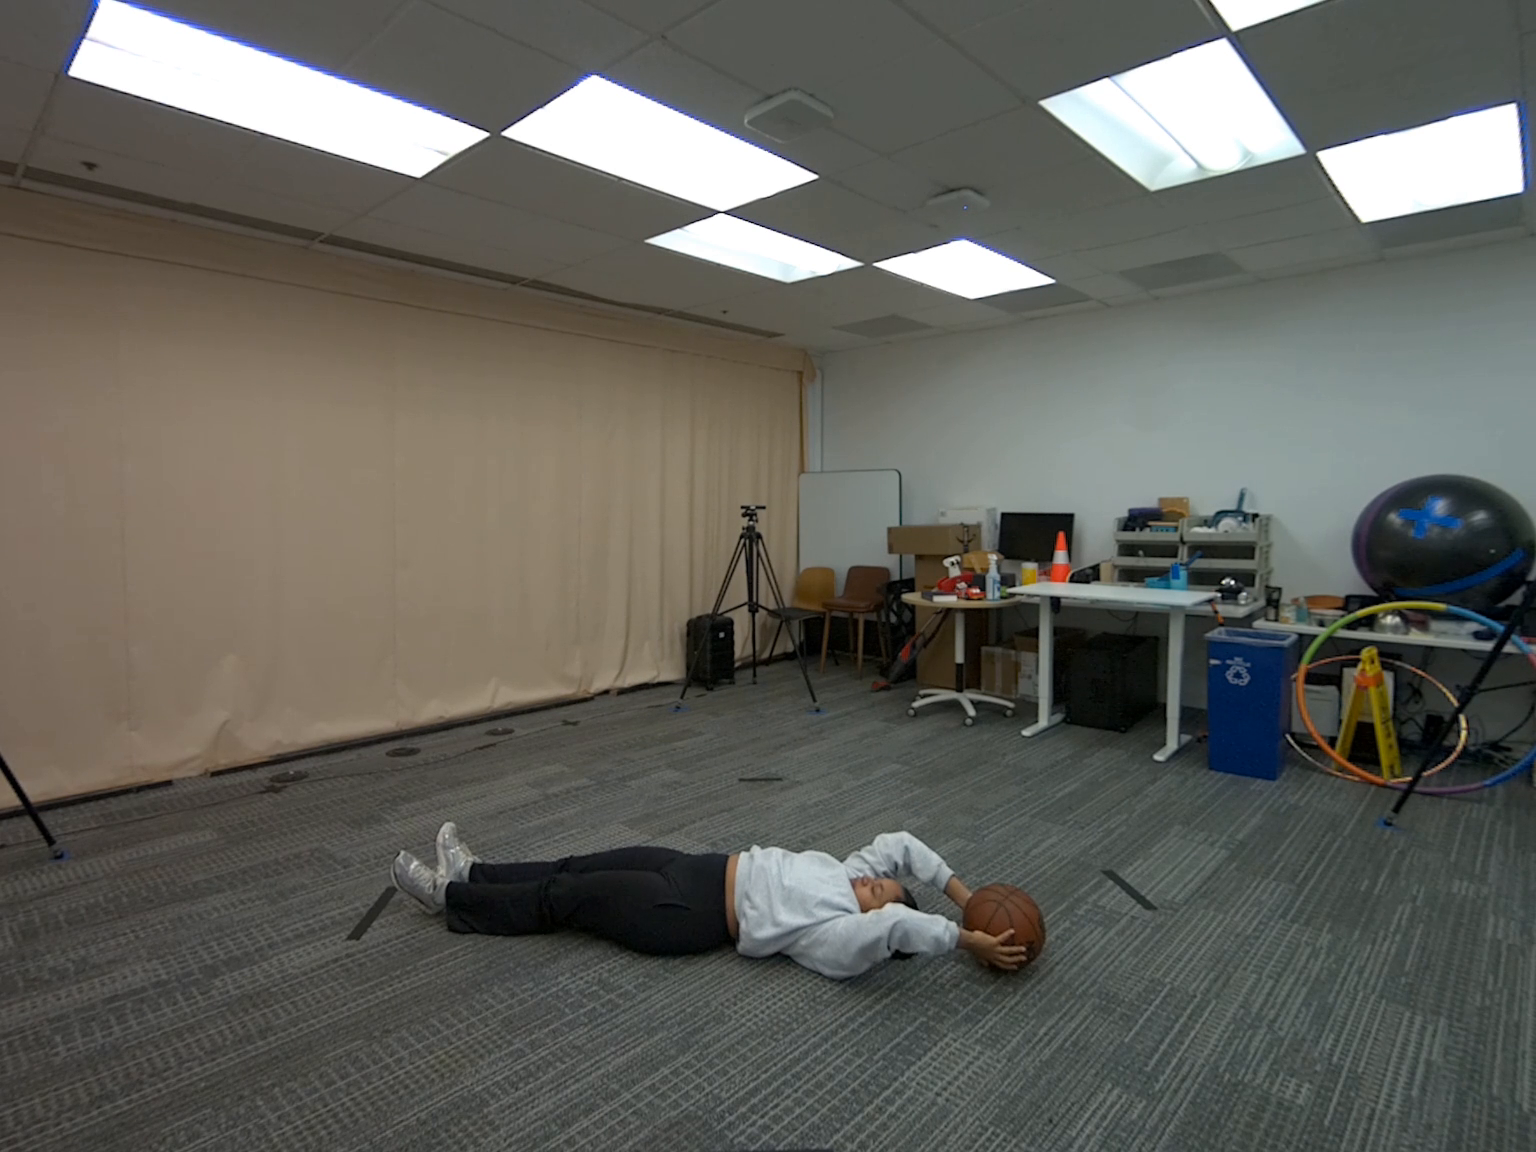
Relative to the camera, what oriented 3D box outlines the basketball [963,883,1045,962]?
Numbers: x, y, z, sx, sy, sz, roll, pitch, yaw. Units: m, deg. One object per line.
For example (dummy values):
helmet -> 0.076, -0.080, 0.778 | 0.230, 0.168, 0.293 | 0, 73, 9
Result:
basketball -> 0.714, 1.040, 2.550 | 0.235, 0.235, 0.237 | 1, 4, -2
